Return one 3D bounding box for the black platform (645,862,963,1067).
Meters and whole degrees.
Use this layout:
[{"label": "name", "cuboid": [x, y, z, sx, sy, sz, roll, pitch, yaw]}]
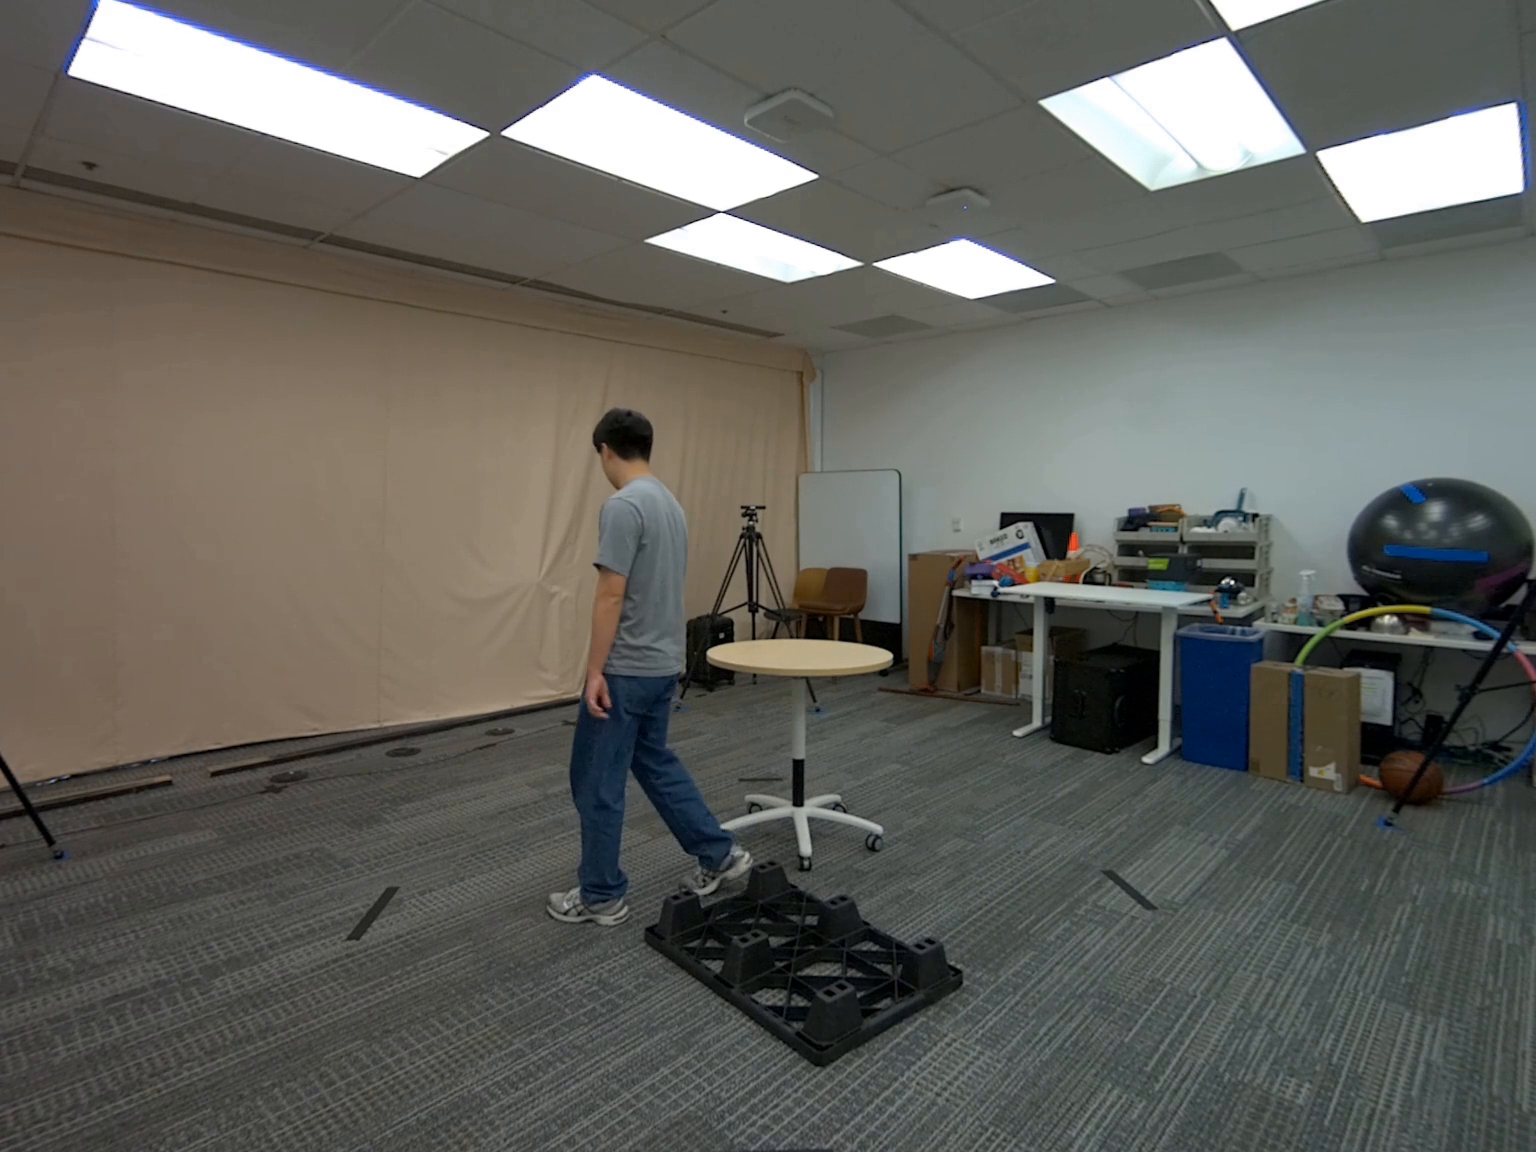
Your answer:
[{"label": "black platform", "cuboid": [0.096, 1.113, 2.566, 0.587, 0.143, 0.832, -5, 7, -41]}]
